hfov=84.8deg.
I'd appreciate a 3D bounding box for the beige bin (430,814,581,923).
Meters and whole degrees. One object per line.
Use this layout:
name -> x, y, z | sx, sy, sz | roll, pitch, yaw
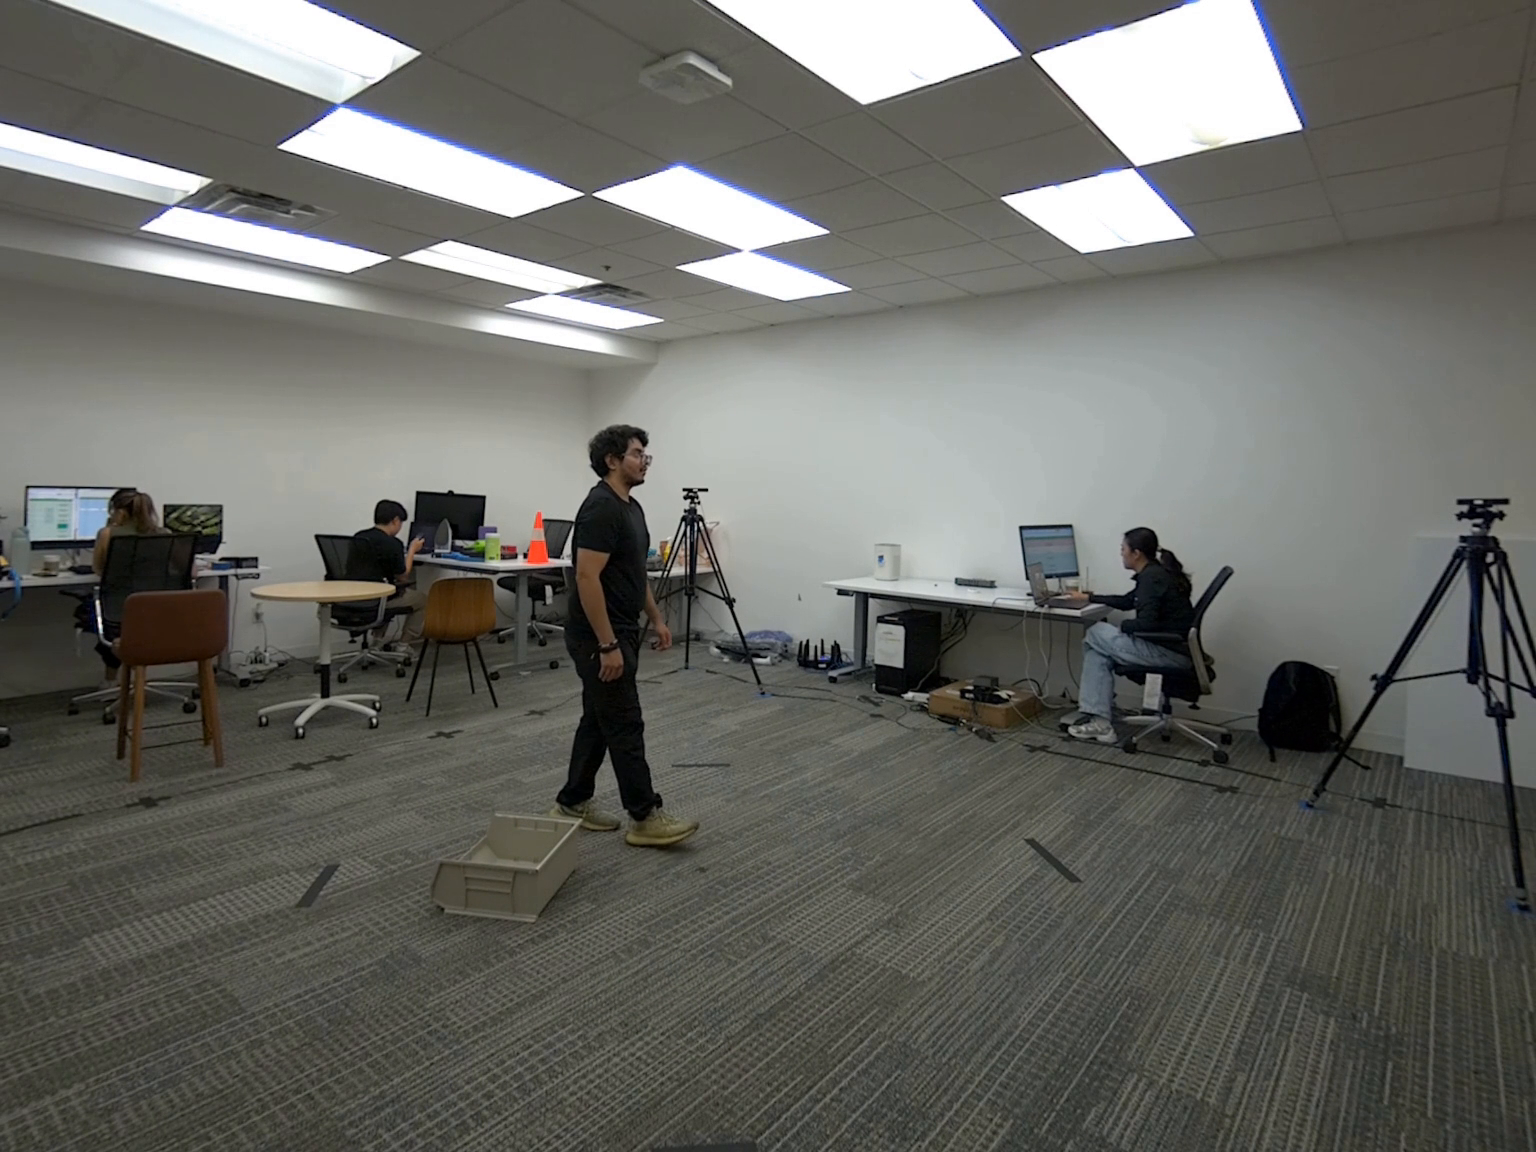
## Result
beige bin -> -0.905, 0.989, 2.927 | 0.381, 0.188, 0.419 | 3, 4, 8
